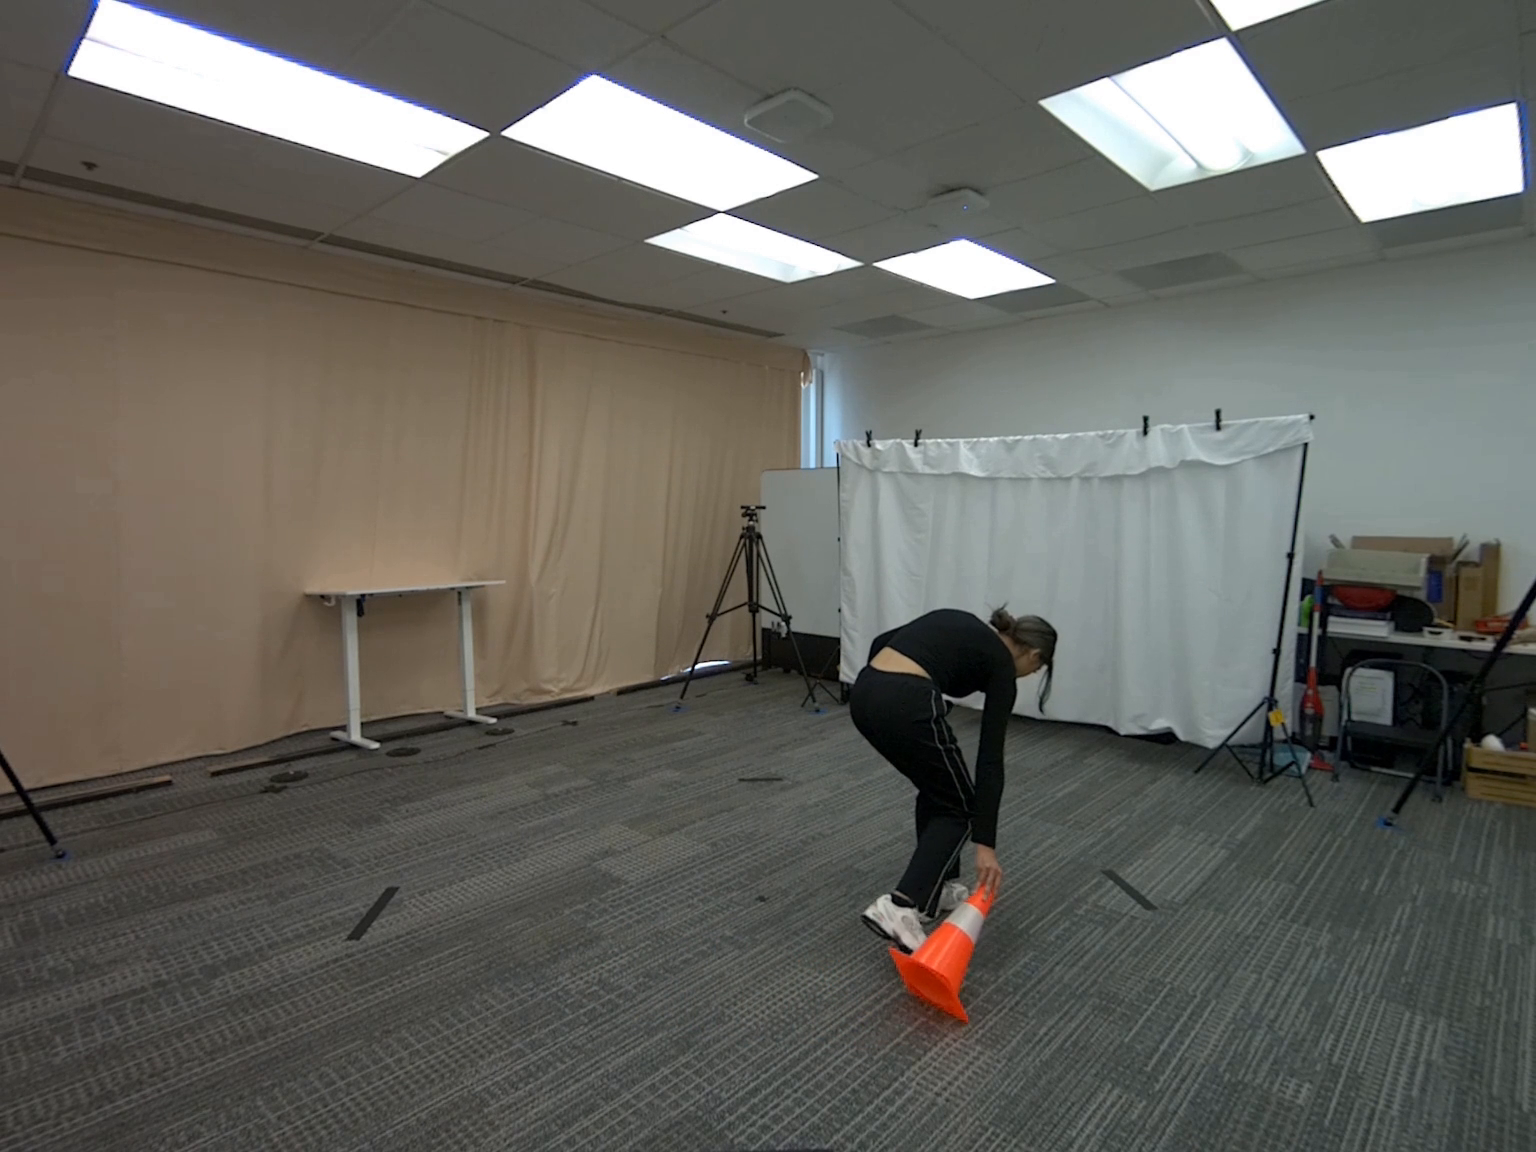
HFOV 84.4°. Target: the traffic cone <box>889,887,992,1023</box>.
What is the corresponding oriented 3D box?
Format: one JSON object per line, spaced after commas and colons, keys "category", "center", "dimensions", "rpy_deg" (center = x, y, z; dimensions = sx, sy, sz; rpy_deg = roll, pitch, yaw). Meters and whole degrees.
{"category": "traffic cone", "center": [0.552, 1.010, 2.399], "dimensions": [0.212, 0.199, 0.380], "rpy_deg": [4, 38, 49]}
